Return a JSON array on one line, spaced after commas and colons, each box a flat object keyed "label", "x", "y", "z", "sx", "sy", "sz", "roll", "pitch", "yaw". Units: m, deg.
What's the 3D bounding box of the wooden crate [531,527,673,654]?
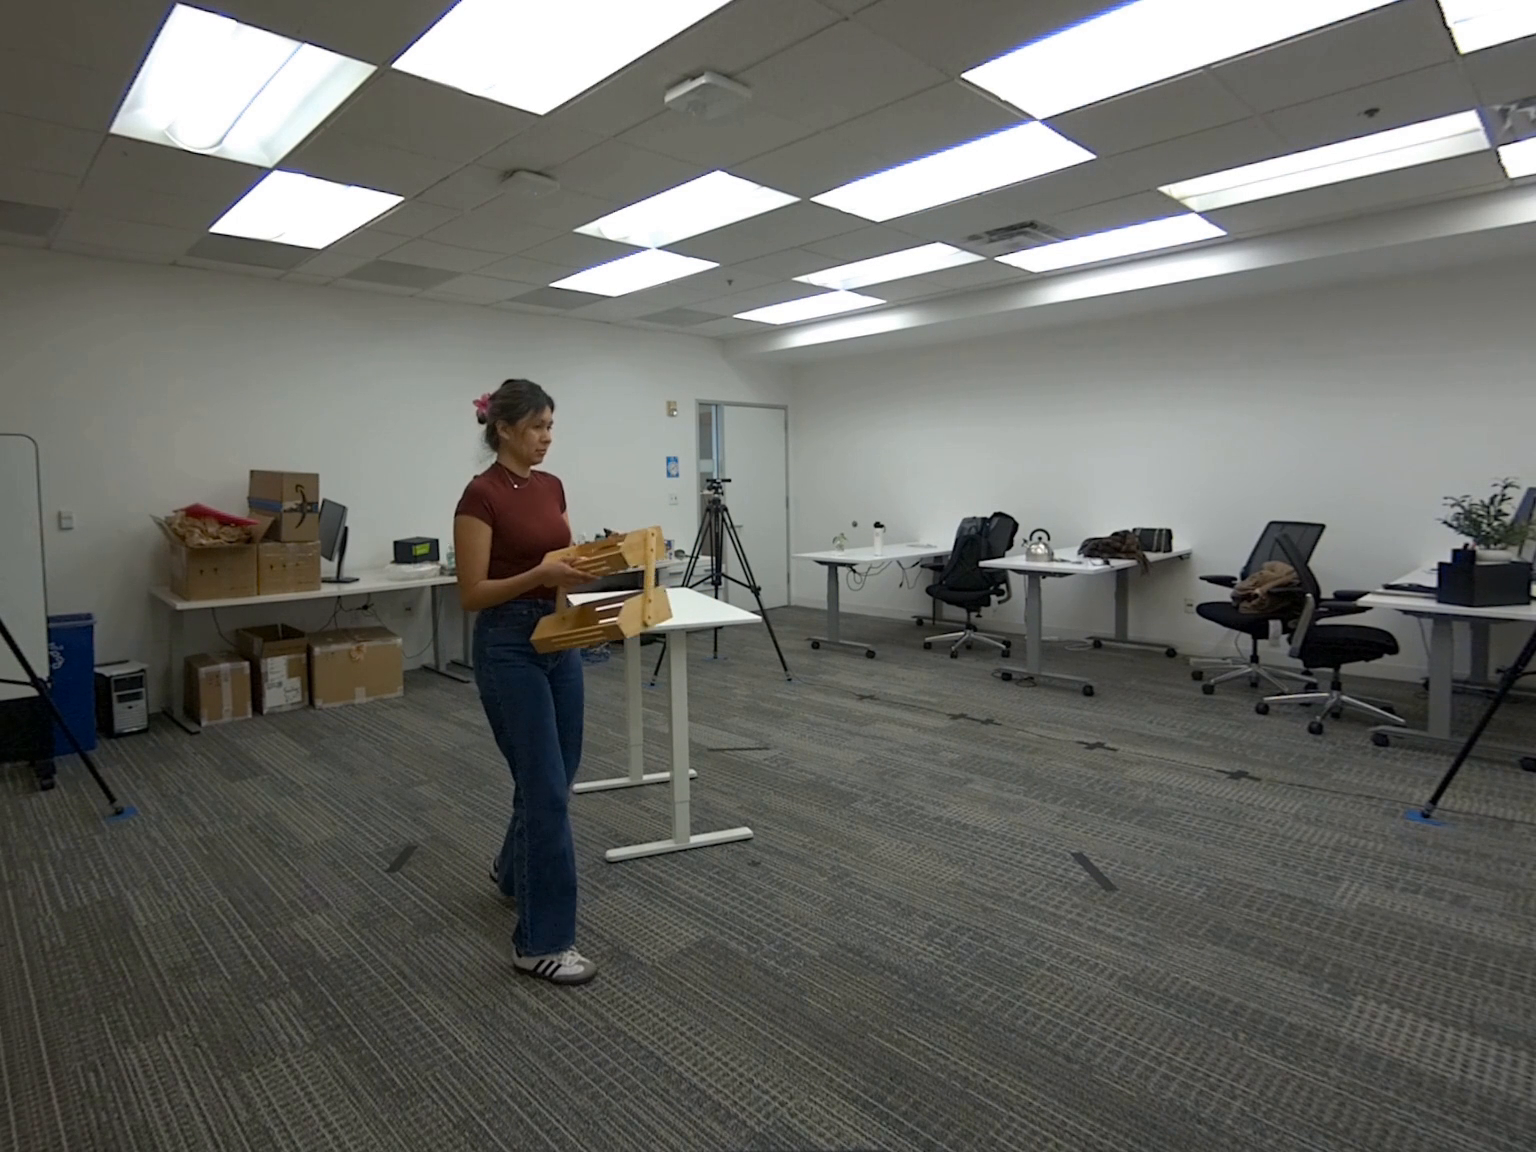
[{"label": "wooden crate", "x": -0.474, "y": 0.029, "z": 2.360, "sx": 0.331, "sy": 0.273, "sz": 0.297, "roll": -12, "pitch": 3, "yaw": 29}]
